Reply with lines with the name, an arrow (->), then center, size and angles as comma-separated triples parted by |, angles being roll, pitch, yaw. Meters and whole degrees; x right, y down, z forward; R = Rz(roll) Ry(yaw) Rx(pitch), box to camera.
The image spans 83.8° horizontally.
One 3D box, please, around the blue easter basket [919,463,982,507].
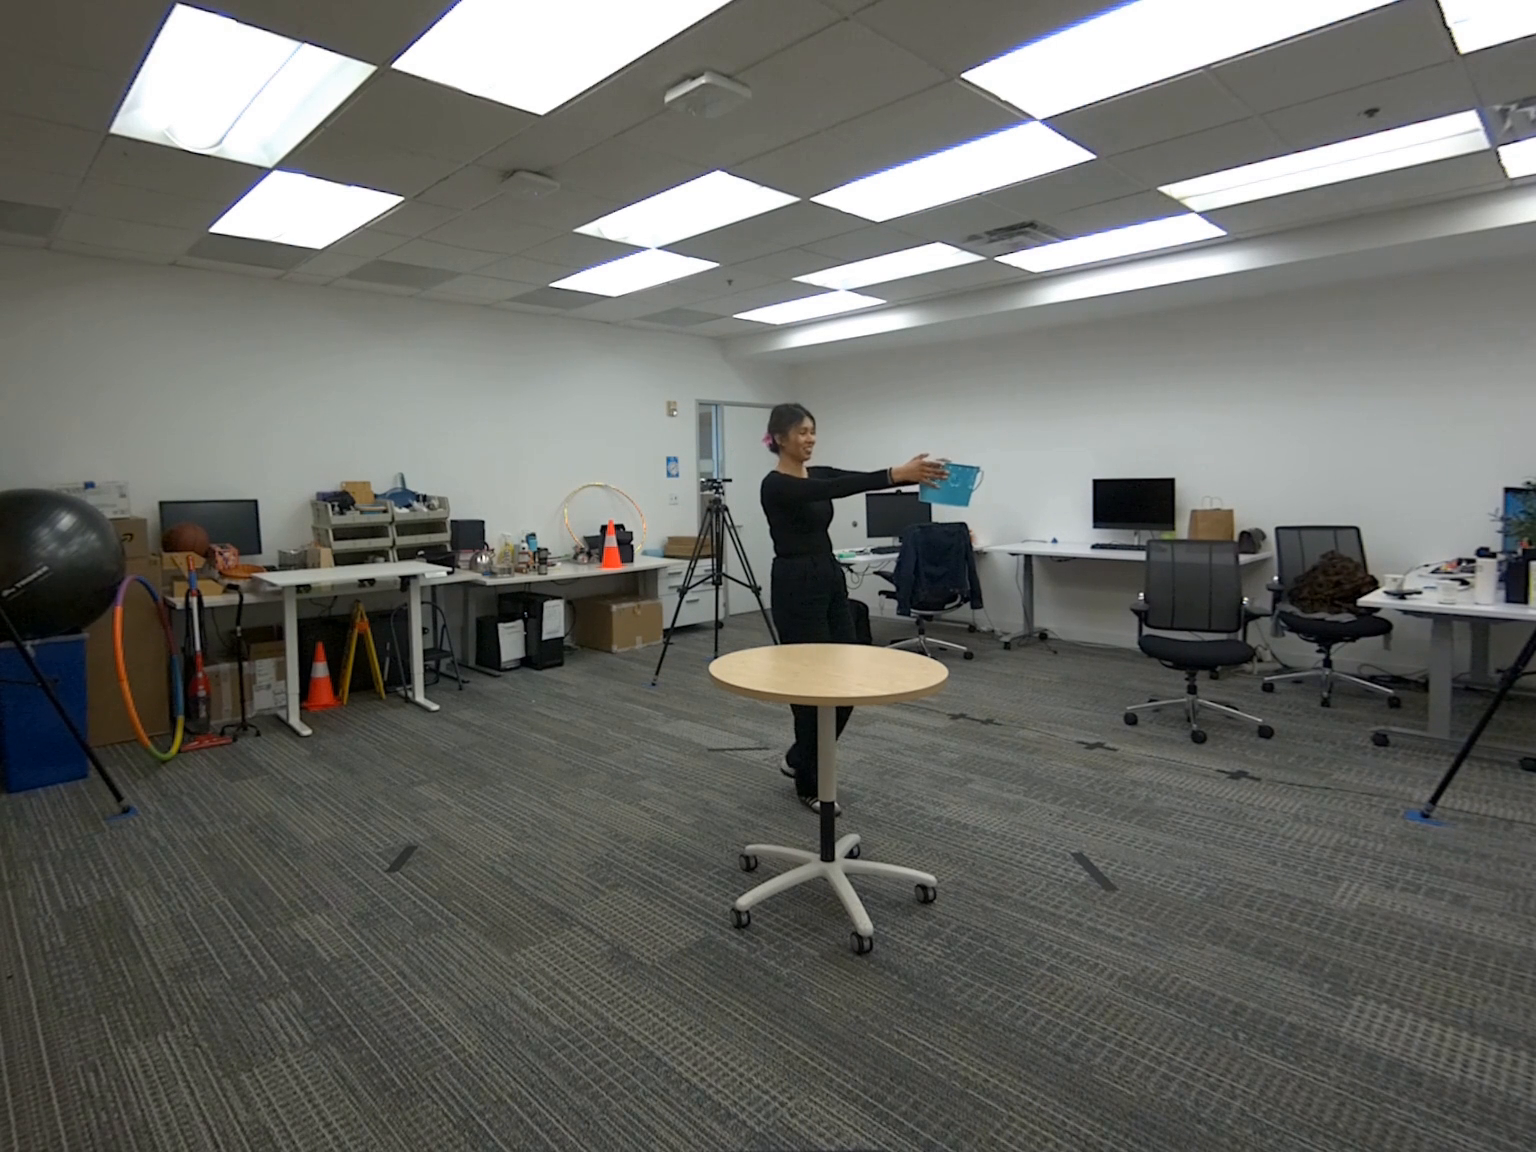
blue easter basket -> 0.670, -0.346, 3.187 | 0.243, 0.155, 0.245 | 6, 7, -2
